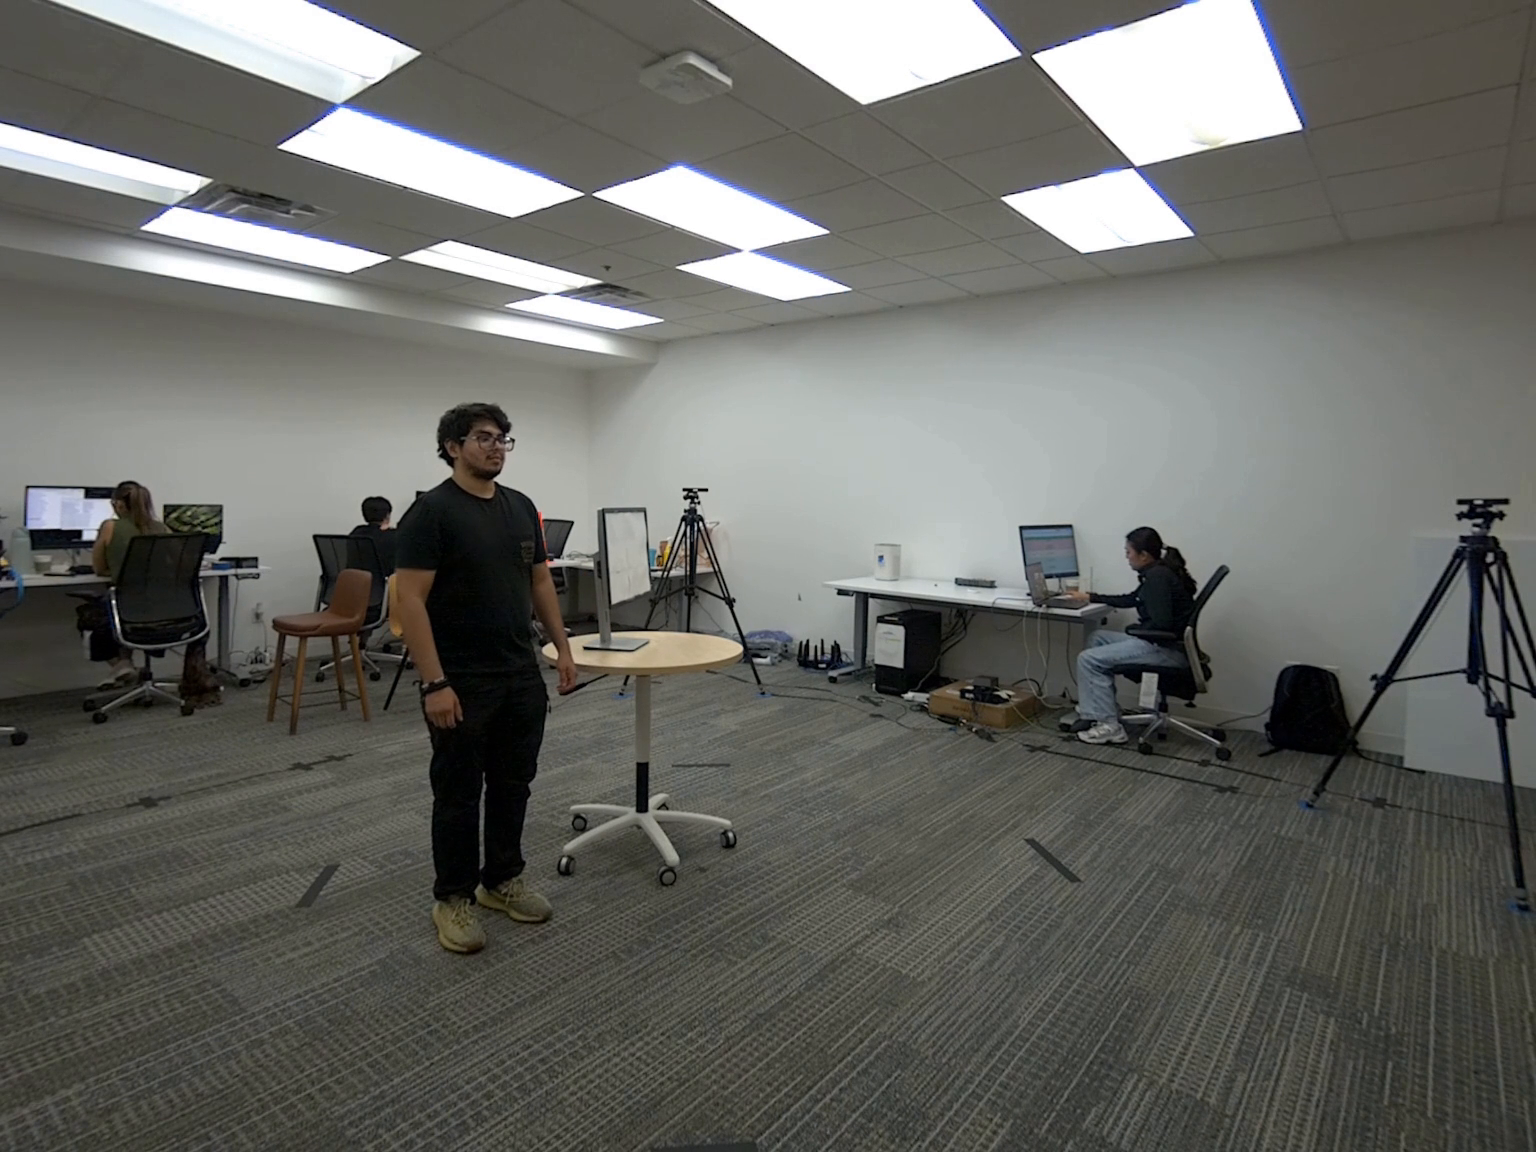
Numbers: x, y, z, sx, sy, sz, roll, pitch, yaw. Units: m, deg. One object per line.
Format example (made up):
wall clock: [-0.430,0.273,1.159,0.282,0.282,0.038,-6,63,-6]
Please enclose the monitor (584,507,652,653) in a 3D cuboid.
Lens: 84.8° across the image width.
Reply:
monitor: [-0.618,0.005,3.300,0.212,0.553,0.561,-2,3,8]
